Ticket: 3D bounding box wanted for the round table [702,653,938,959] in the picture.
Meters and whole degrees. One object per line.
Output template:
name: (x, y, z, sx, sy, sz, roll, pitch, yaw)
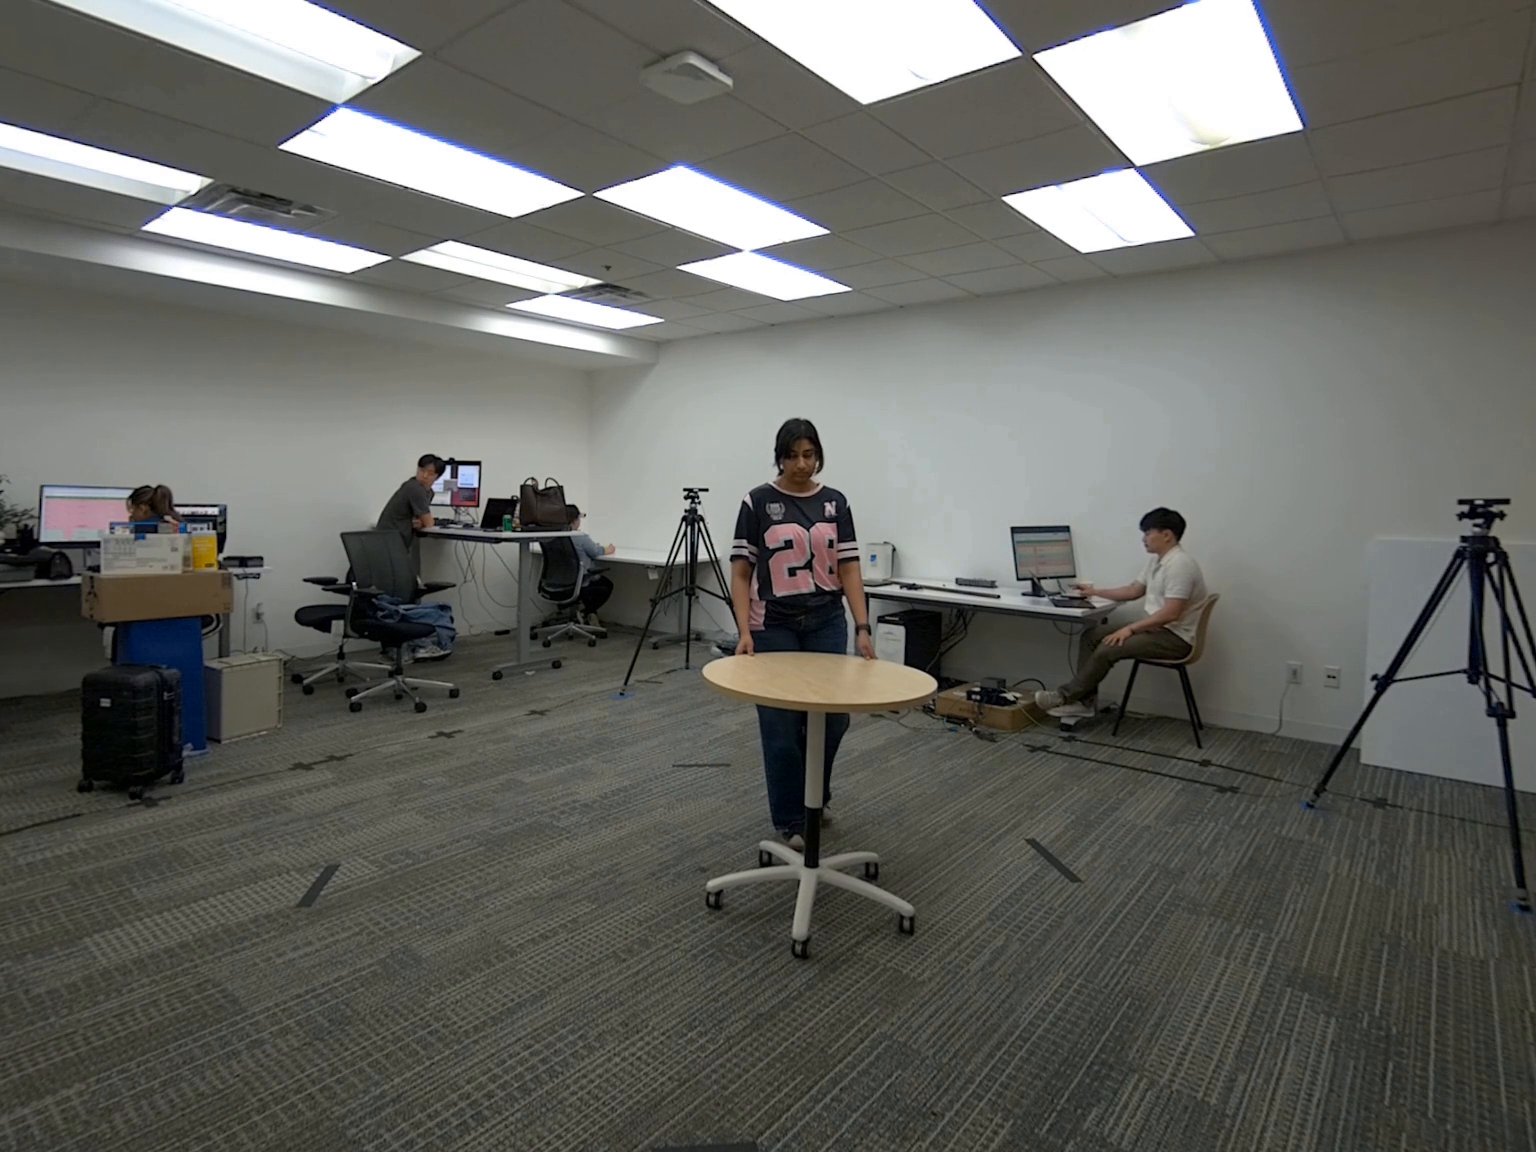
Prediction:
round table: (0.143, 0.715, 2.827, 0.763, 0.792, 0.768, 2, 4, -2)
